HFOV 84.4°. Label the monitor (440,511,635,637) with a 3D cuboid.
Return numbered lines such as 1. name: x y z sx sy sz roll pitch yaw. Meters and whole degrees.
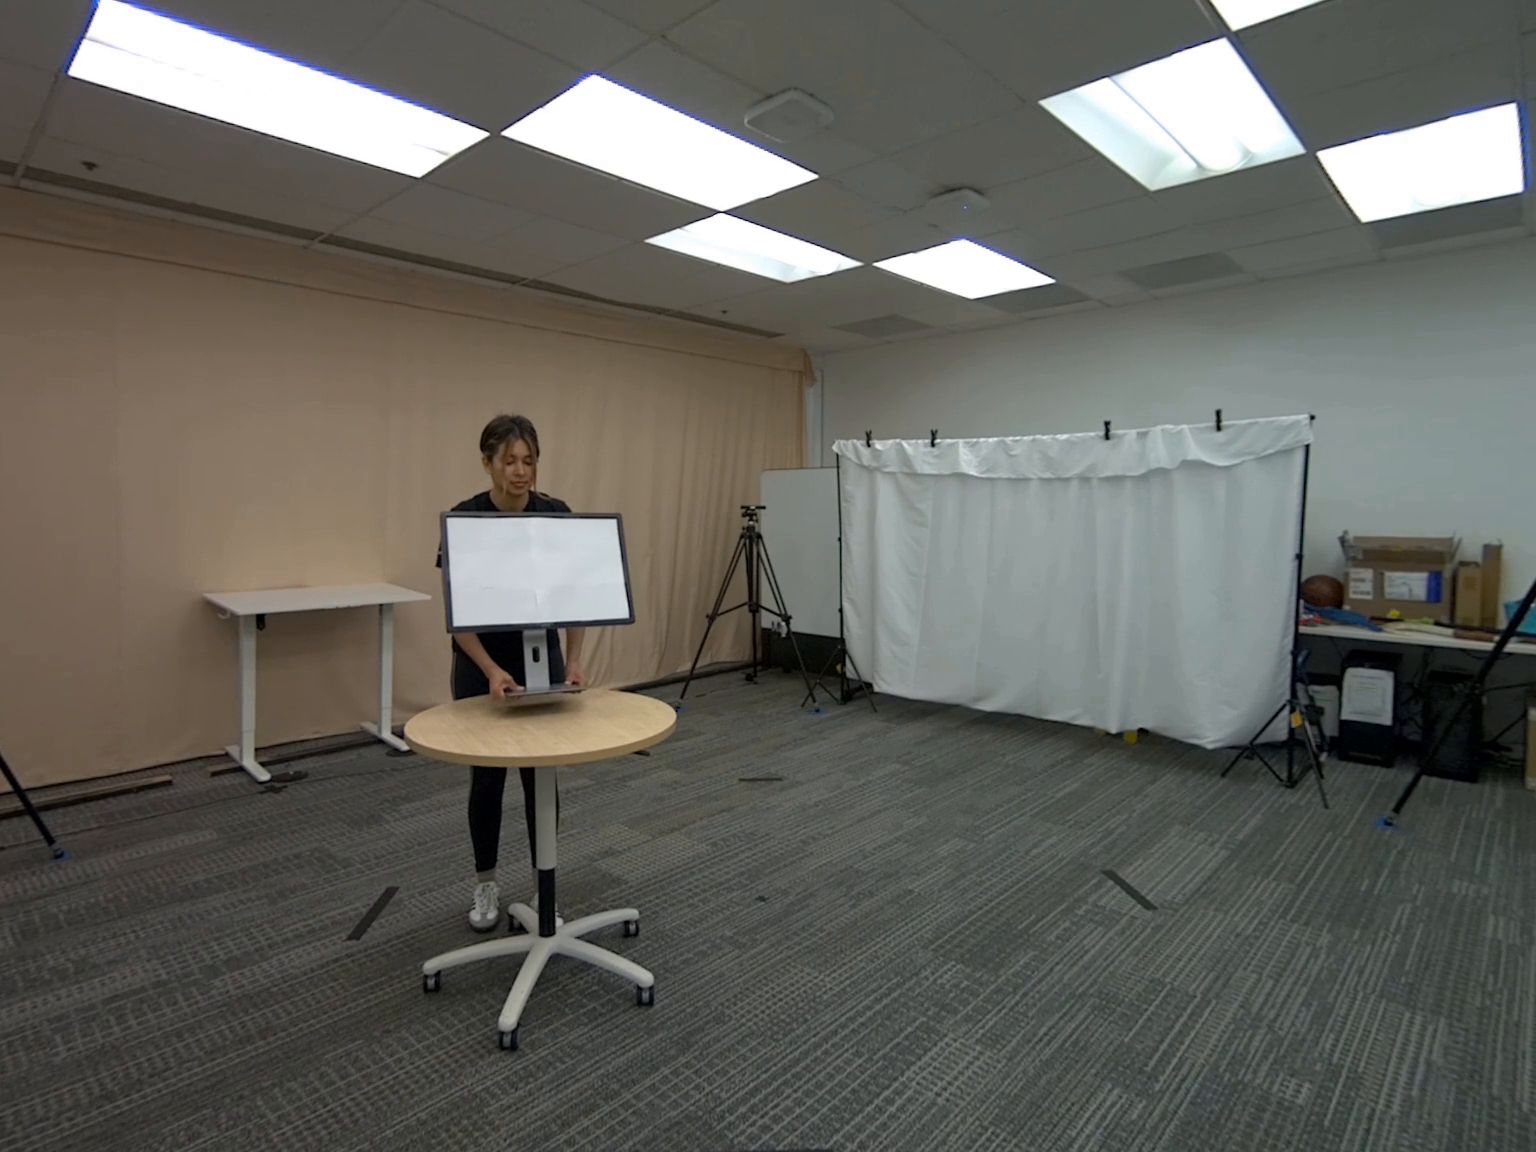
1. monitor: -0.700 0.080 2.549 0.525 0.524 0.191 -1 -6 -28
